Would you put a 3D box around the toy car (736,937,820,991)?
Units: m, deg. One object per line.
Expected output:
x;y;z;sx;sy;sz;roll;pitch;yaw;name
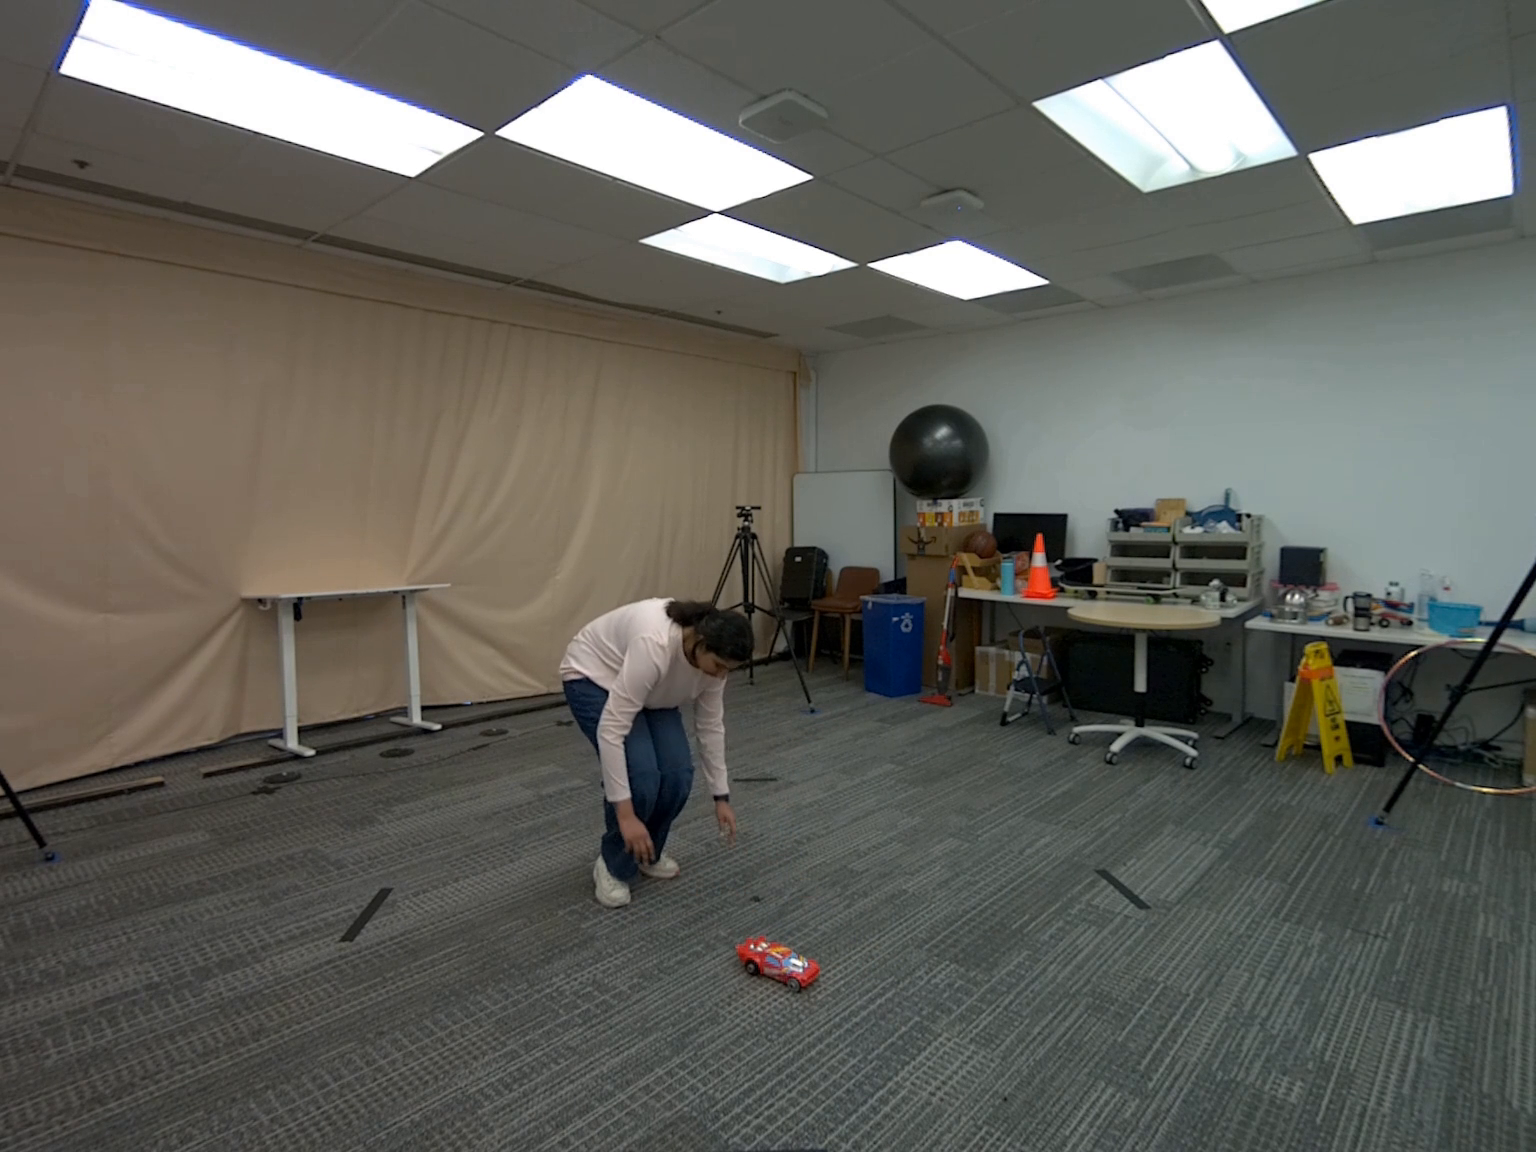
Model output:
0.028;1.151;2.504;0.263;0.083;0.126;16;12;35;toy car
